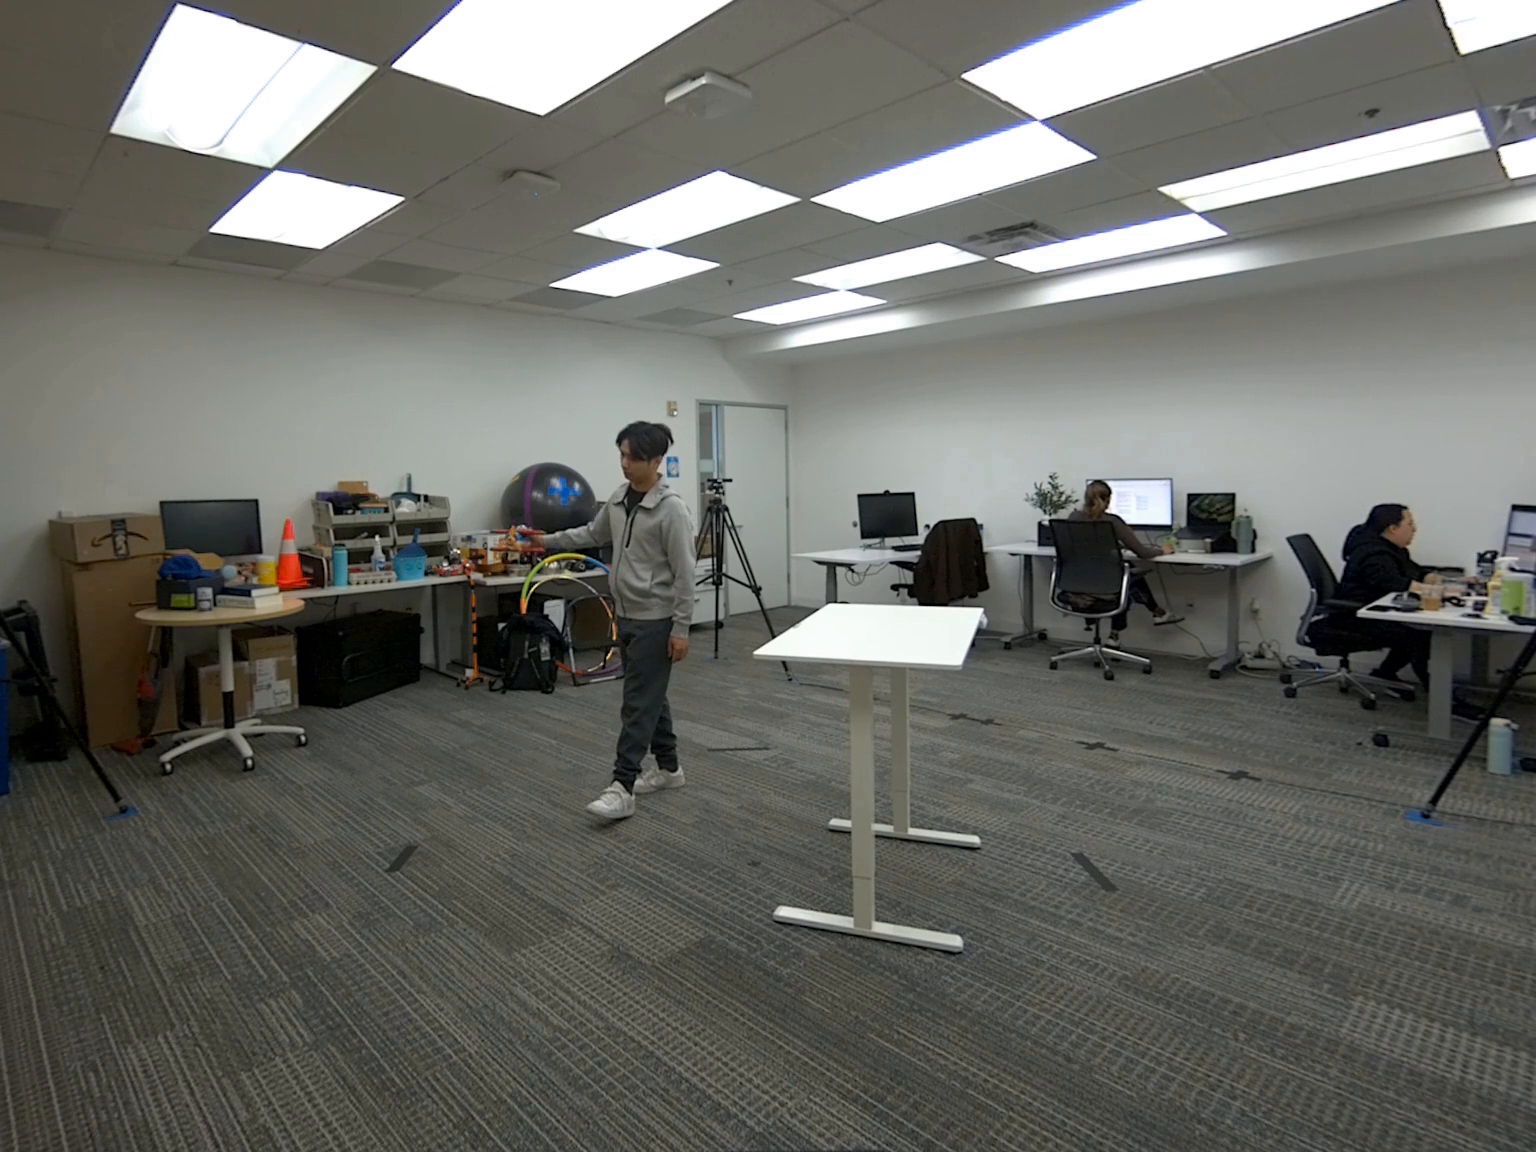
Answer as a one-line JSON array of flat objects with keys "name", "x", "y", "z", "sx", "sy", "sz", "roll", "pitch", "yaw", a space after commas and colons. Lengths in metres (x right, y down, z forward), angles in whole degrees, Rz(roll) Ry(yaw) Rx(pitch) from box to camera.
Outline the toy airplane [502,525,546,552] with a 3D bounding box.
[{"name": "toy airplane", "x": -1.154, "y": -0.170, "z": 3.916, "sx": 0.246, "sy": 0.154, "sz": 0.268, "roll": -7, "pitch": 18, "yaw": -26}]
